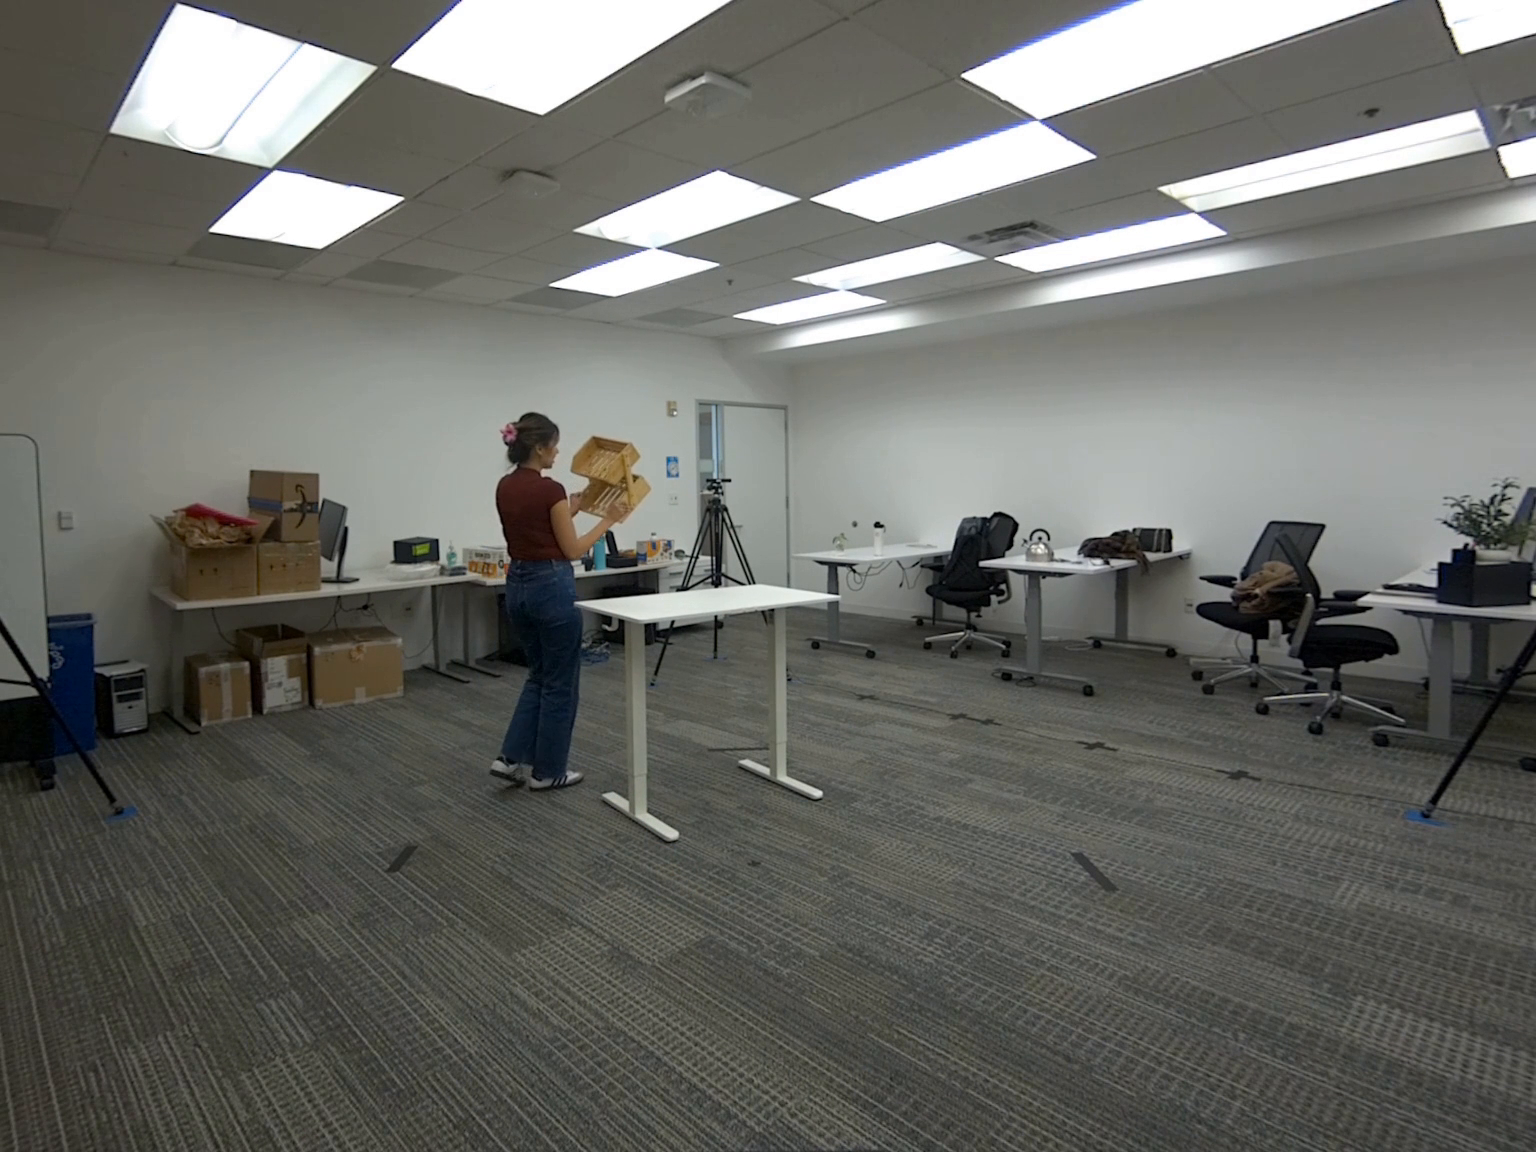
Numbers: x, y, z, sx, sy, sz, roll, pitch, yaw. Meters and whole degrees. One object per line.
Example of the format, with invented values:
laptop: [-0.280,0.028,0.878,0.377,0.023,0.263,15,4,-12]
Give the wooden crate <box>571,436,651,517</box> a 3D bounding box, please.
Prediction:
wooden crate: [-0.773,-0.457,4.047,0.336,0.303,0.263,17,-30,42]
